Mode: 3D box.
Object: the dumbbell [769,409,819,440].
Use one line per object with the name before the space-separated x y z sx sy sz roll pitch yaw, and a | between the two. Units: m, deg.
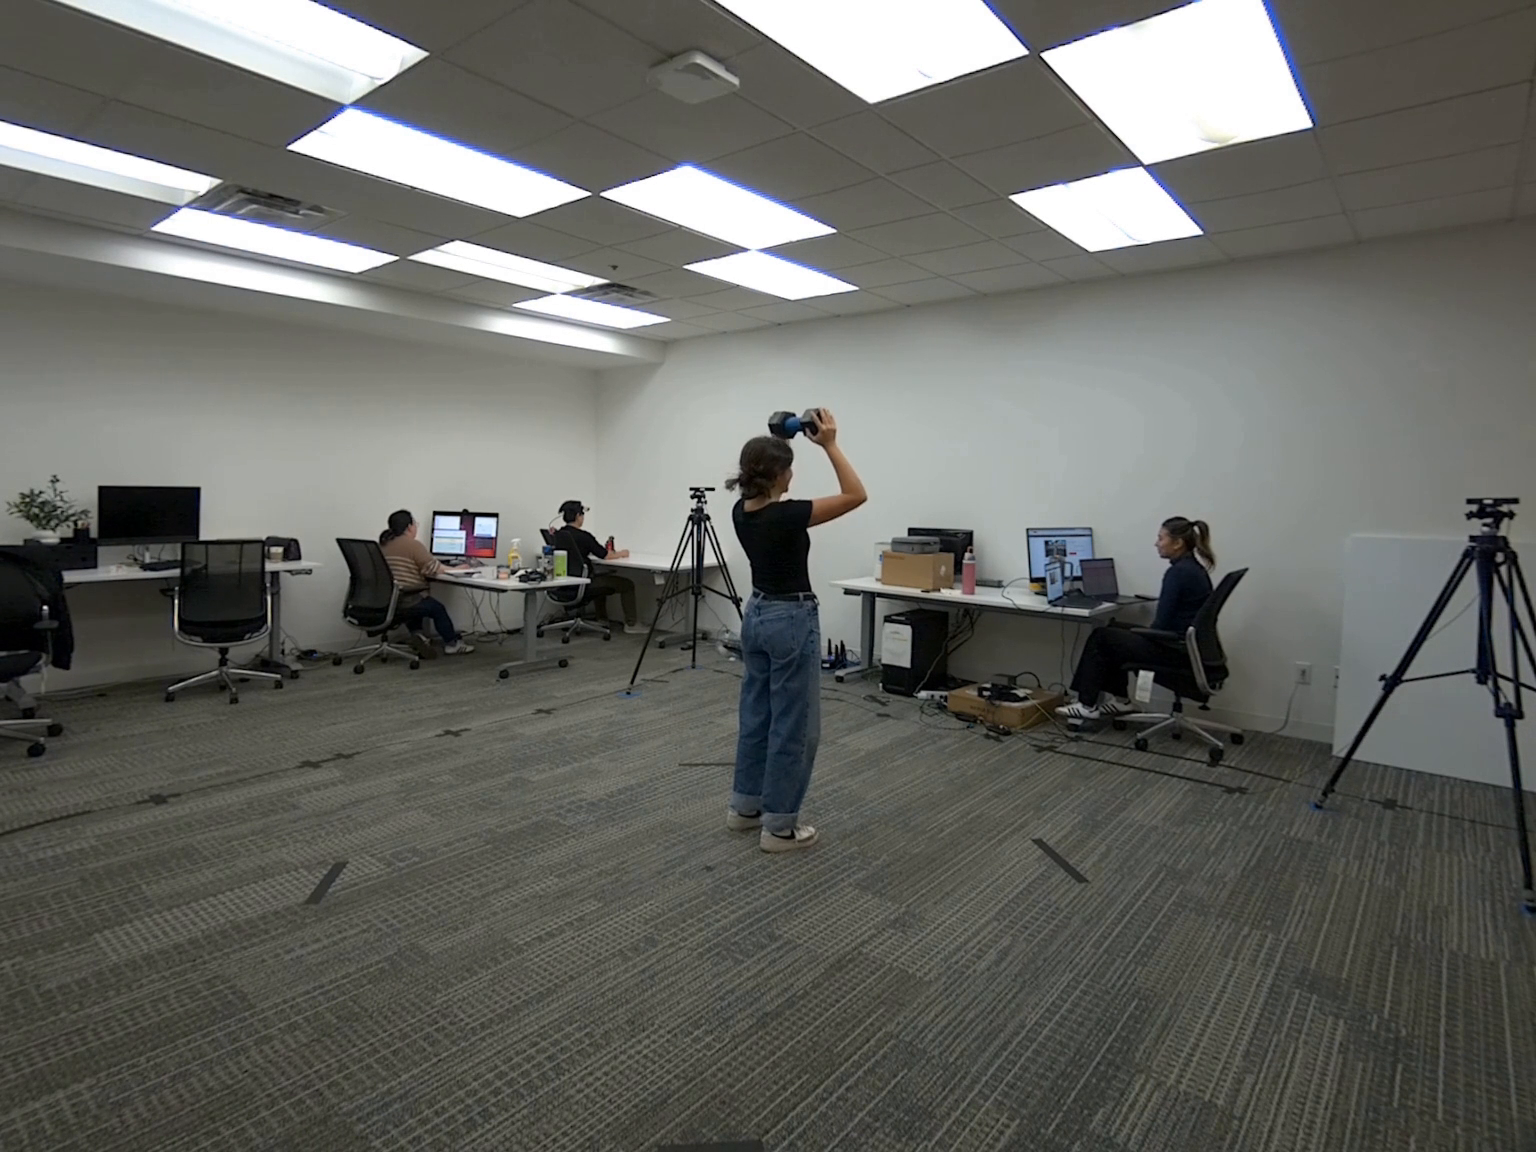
dumbbell | 0.119 -0.608 3.369 0.105 0.123 0.303 42 -16 -29
